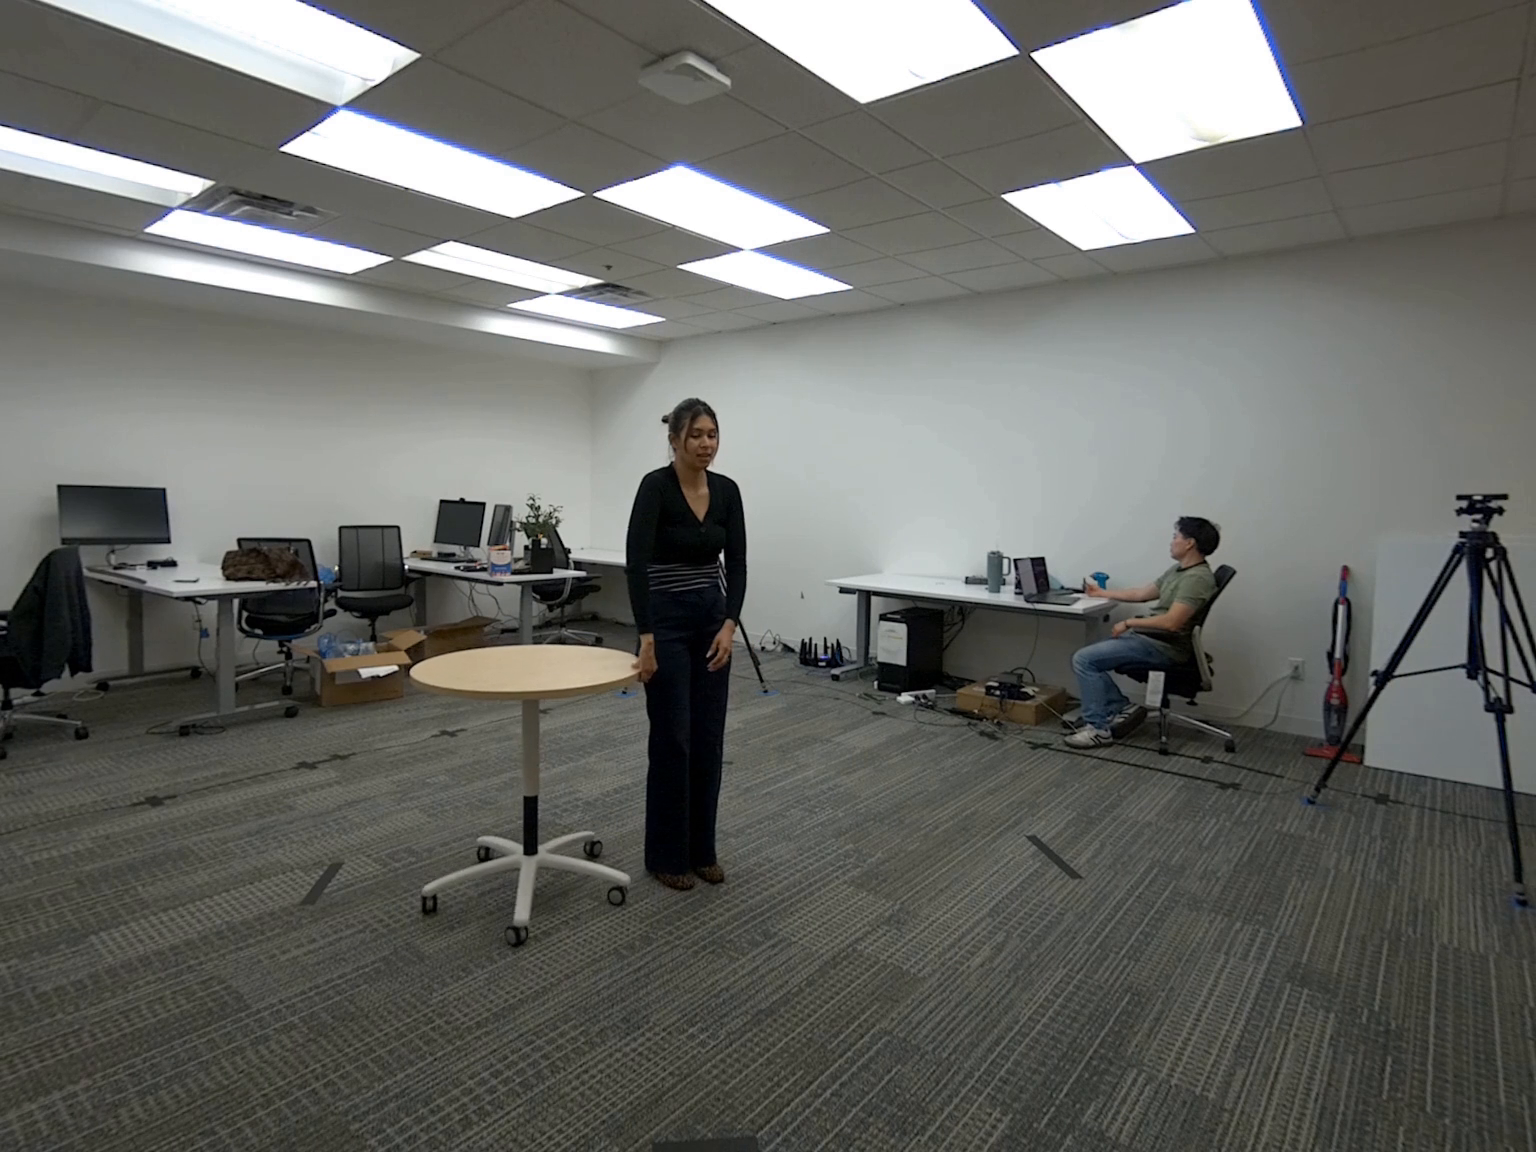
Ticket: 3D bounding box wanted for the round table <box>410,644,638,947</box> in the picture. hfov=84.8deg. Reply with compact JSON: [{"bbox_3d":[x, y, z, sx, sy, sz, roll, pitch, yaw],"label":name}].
[{"bbox_3d":[-0.815,0.693,2.879,0.763,0.791,0.768,0,4,-2],"label":"round table"}]
